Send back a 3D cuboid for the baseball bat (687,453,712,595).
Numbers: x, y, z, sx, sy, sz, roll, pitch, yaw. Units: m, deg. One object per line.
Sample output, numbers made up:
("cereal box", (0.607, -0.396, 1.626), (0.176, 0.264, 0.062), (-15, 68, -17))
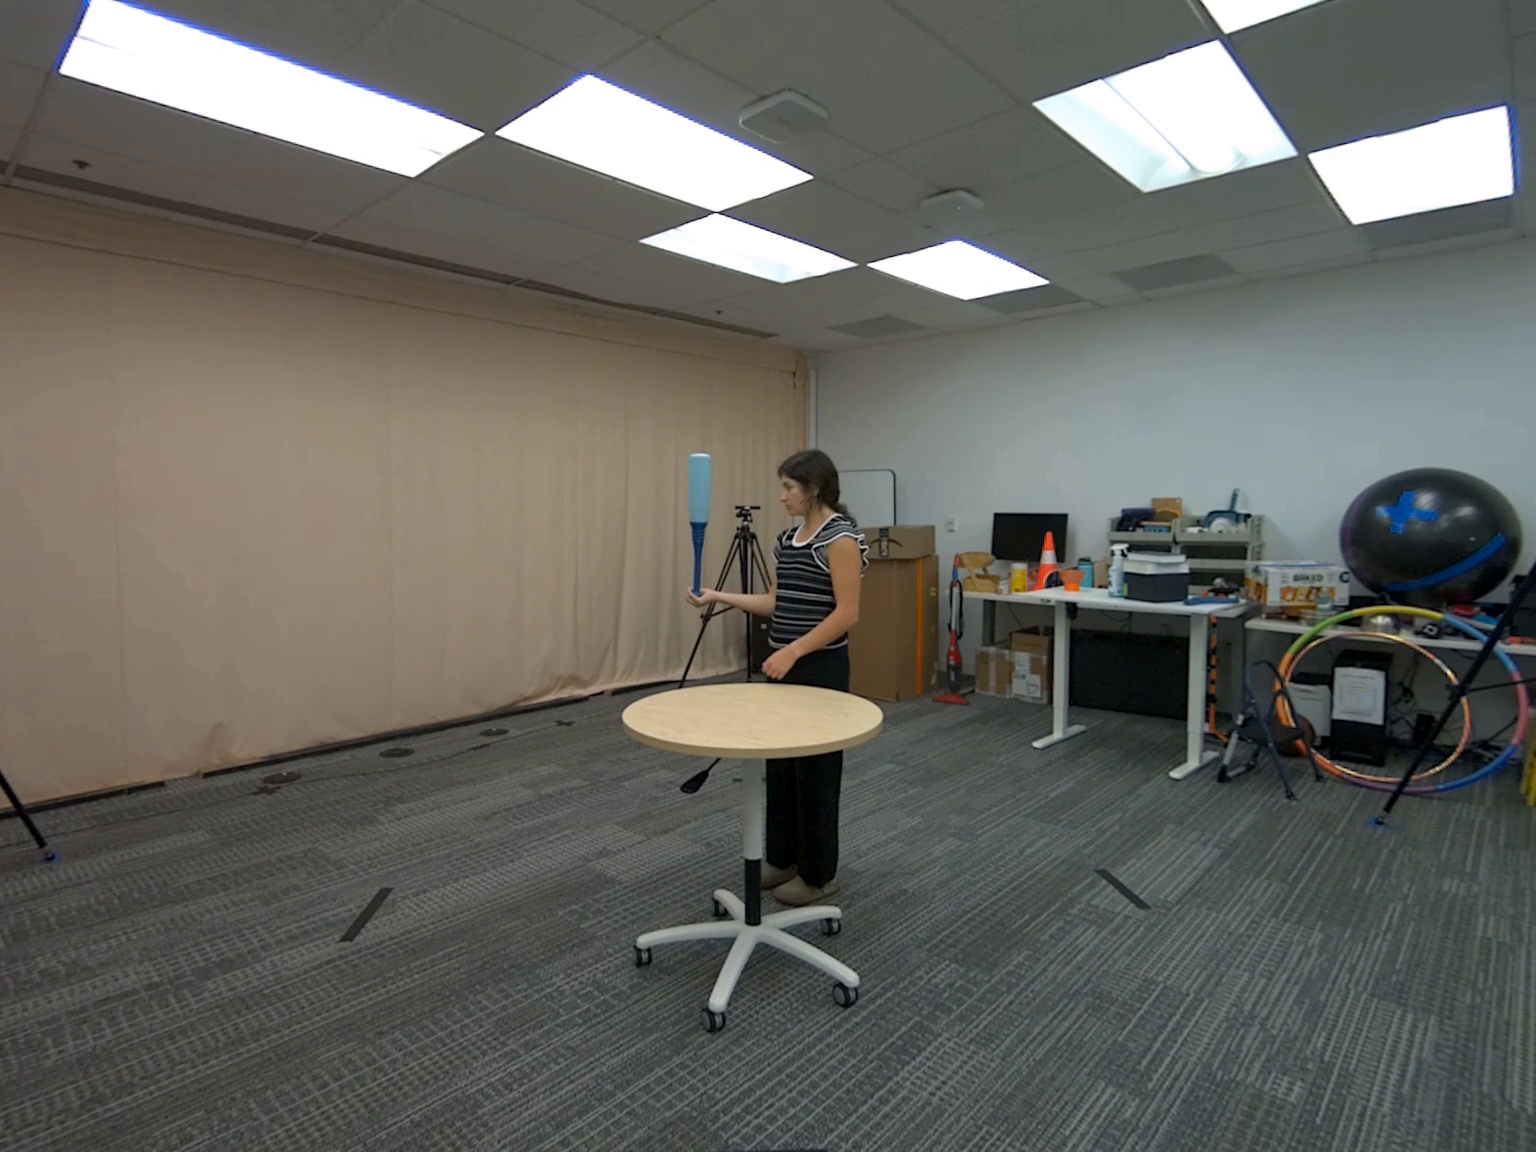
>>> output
("baseball bat", (-0.253, -0.182, 3.138), (0.089, 0.541, 0.089), (1, 6, -2))
